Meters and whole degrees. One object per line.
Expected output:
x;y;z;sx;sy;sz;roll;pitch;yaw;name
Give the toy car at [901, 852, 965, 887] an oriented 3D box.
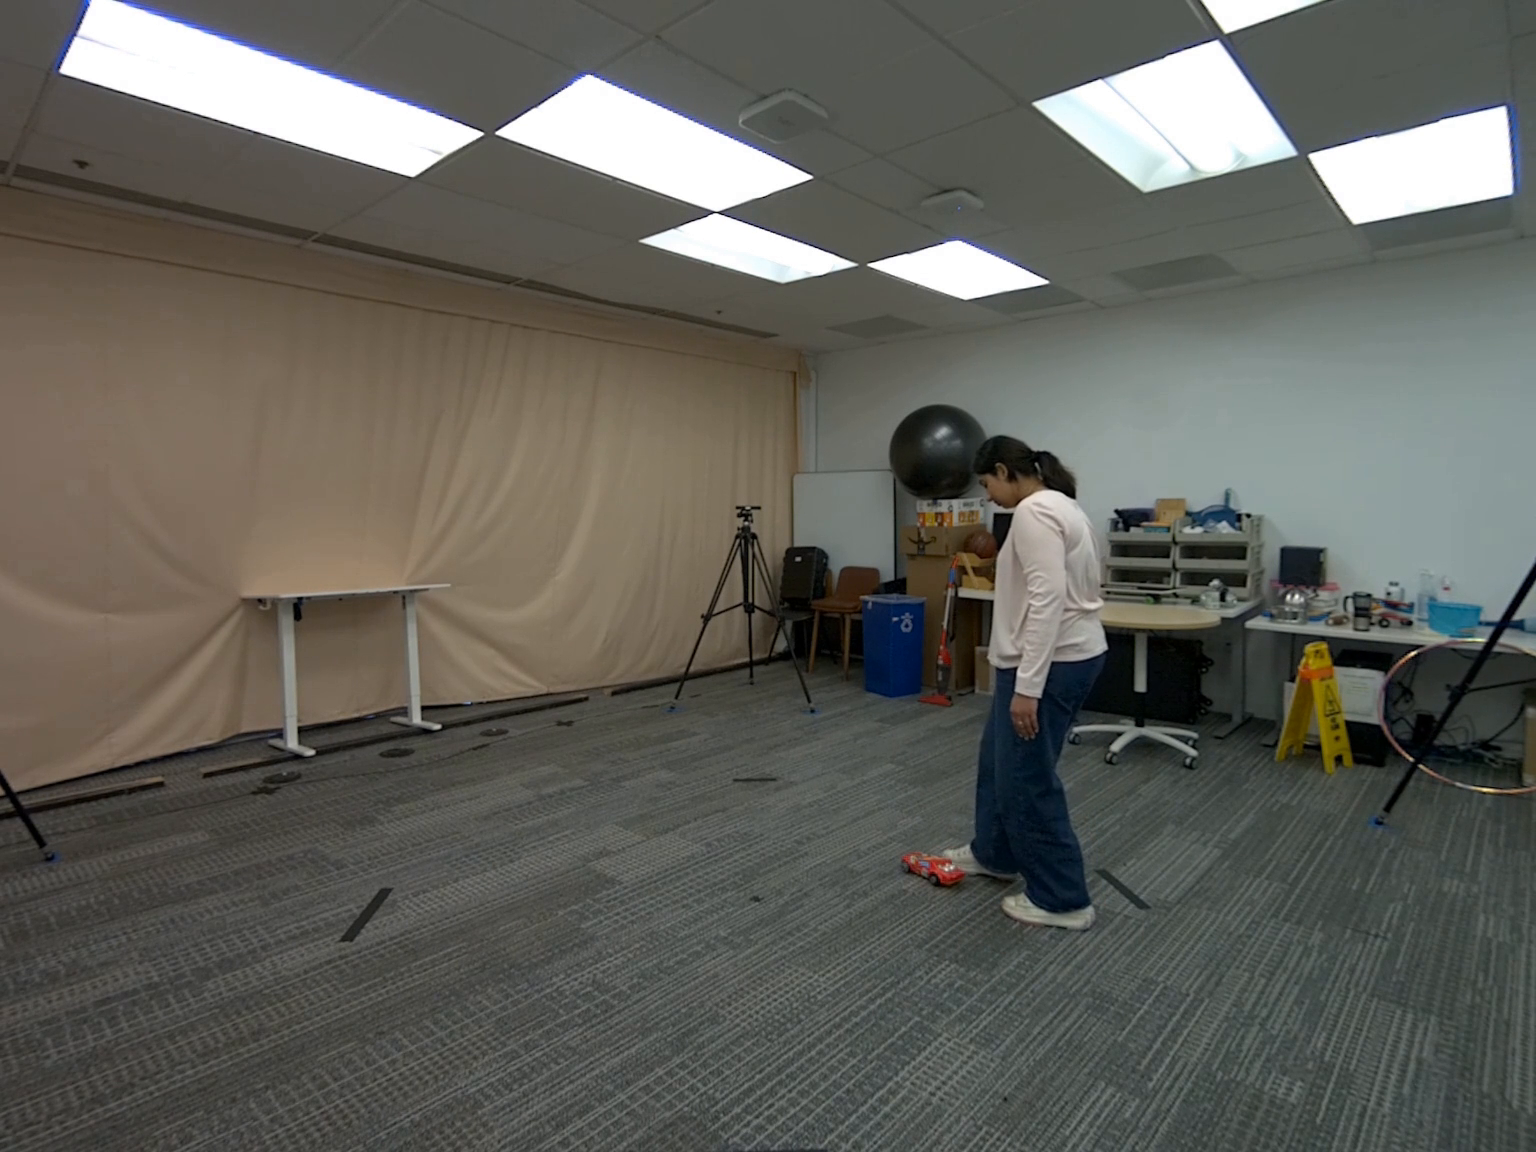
0.626;1.100;3.153;0.126;0.083;0.261;-2;-6;-35;toy car
